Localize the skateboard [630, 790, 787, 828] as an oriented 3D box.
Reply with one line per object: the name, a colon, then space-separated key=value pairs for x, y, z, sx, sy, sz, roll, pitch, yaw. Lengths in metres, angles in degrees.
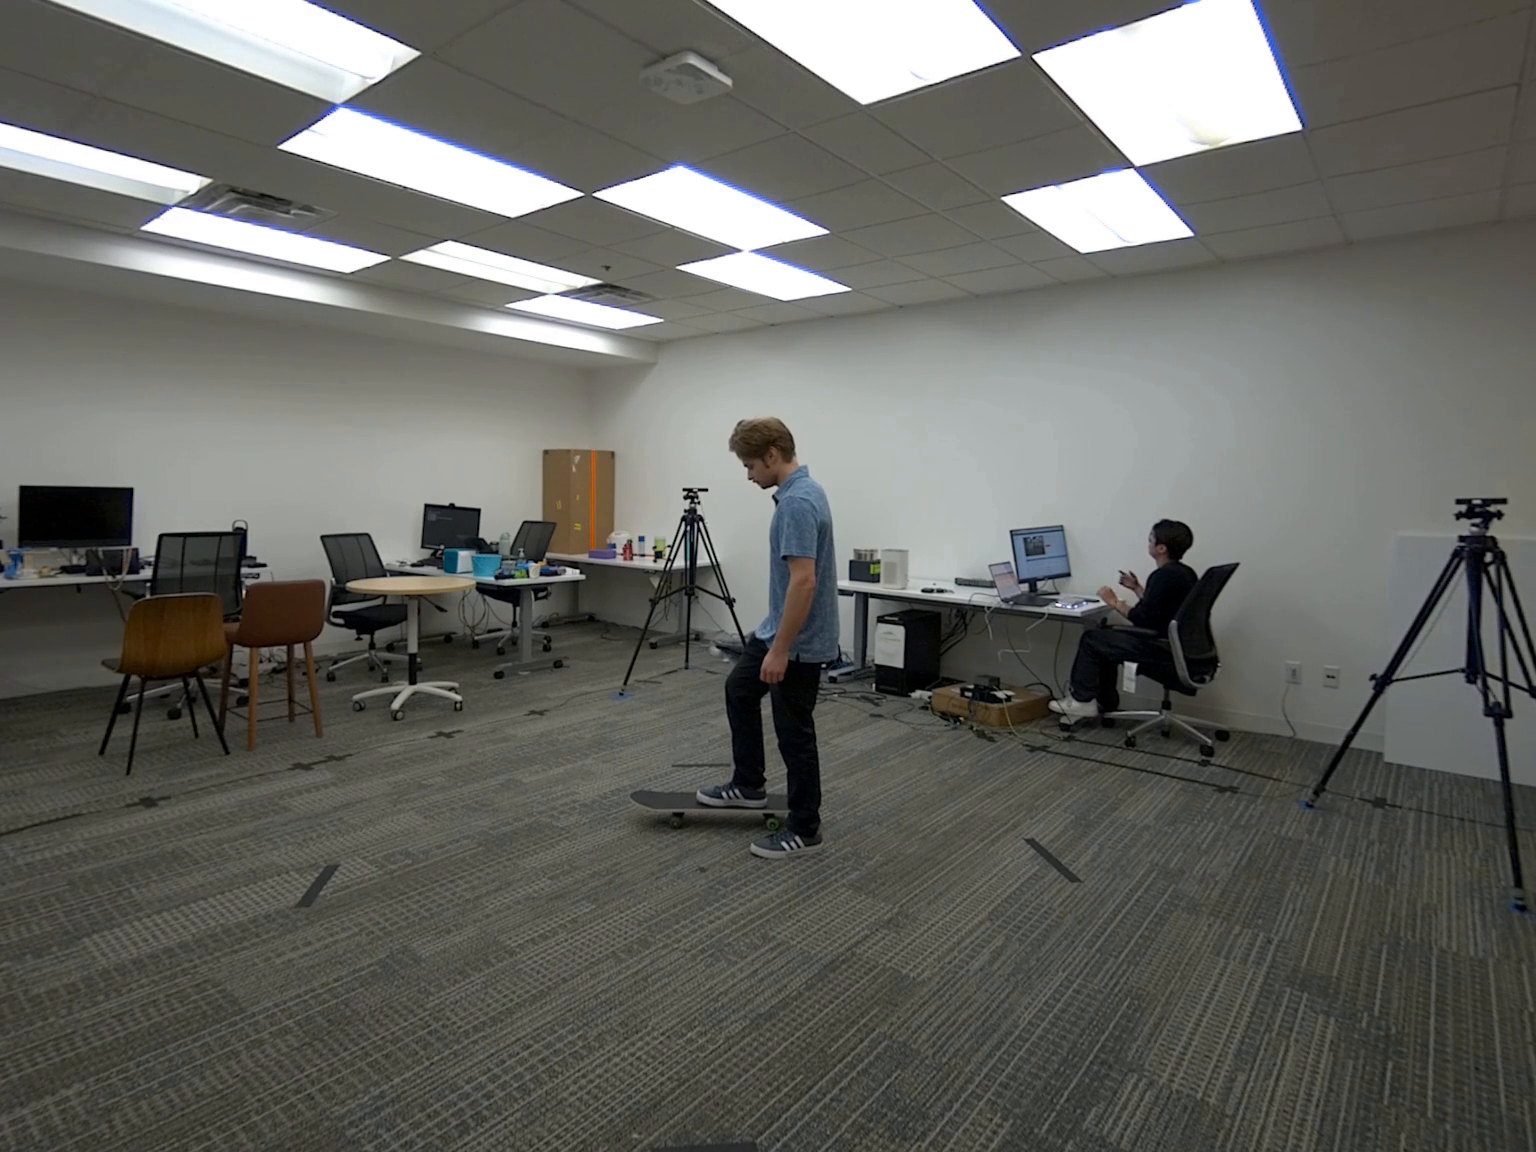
skateboard: x=-0.211 y=0.966 z=3.553 sx=0.784 sy=0.110 sz=0.195 roll=1 pitch=7 yaw=-2
